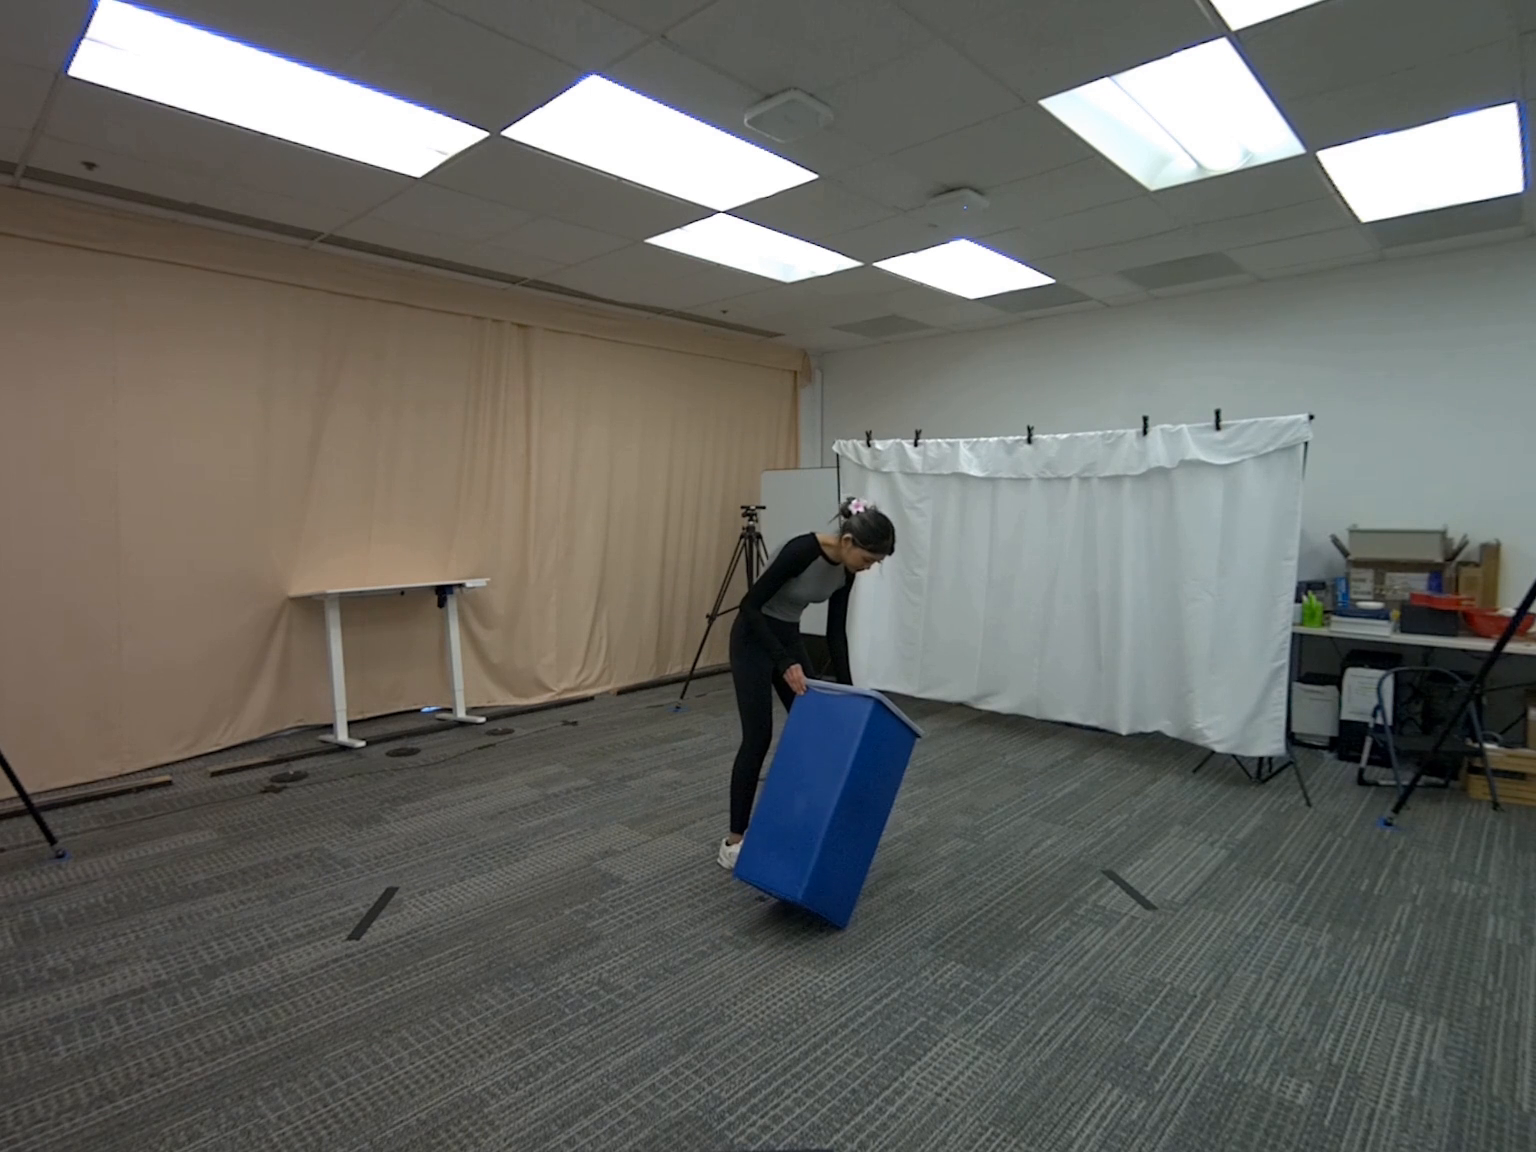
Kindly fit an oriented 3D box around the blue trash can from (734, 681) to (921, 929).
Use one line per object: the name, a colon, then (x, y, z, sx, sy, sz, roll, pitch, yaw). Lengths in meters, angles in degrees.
blue trash can: (0.207, 0.769, 2.903, 0.390, 0.715, 0.361, 2, -30, 43)
